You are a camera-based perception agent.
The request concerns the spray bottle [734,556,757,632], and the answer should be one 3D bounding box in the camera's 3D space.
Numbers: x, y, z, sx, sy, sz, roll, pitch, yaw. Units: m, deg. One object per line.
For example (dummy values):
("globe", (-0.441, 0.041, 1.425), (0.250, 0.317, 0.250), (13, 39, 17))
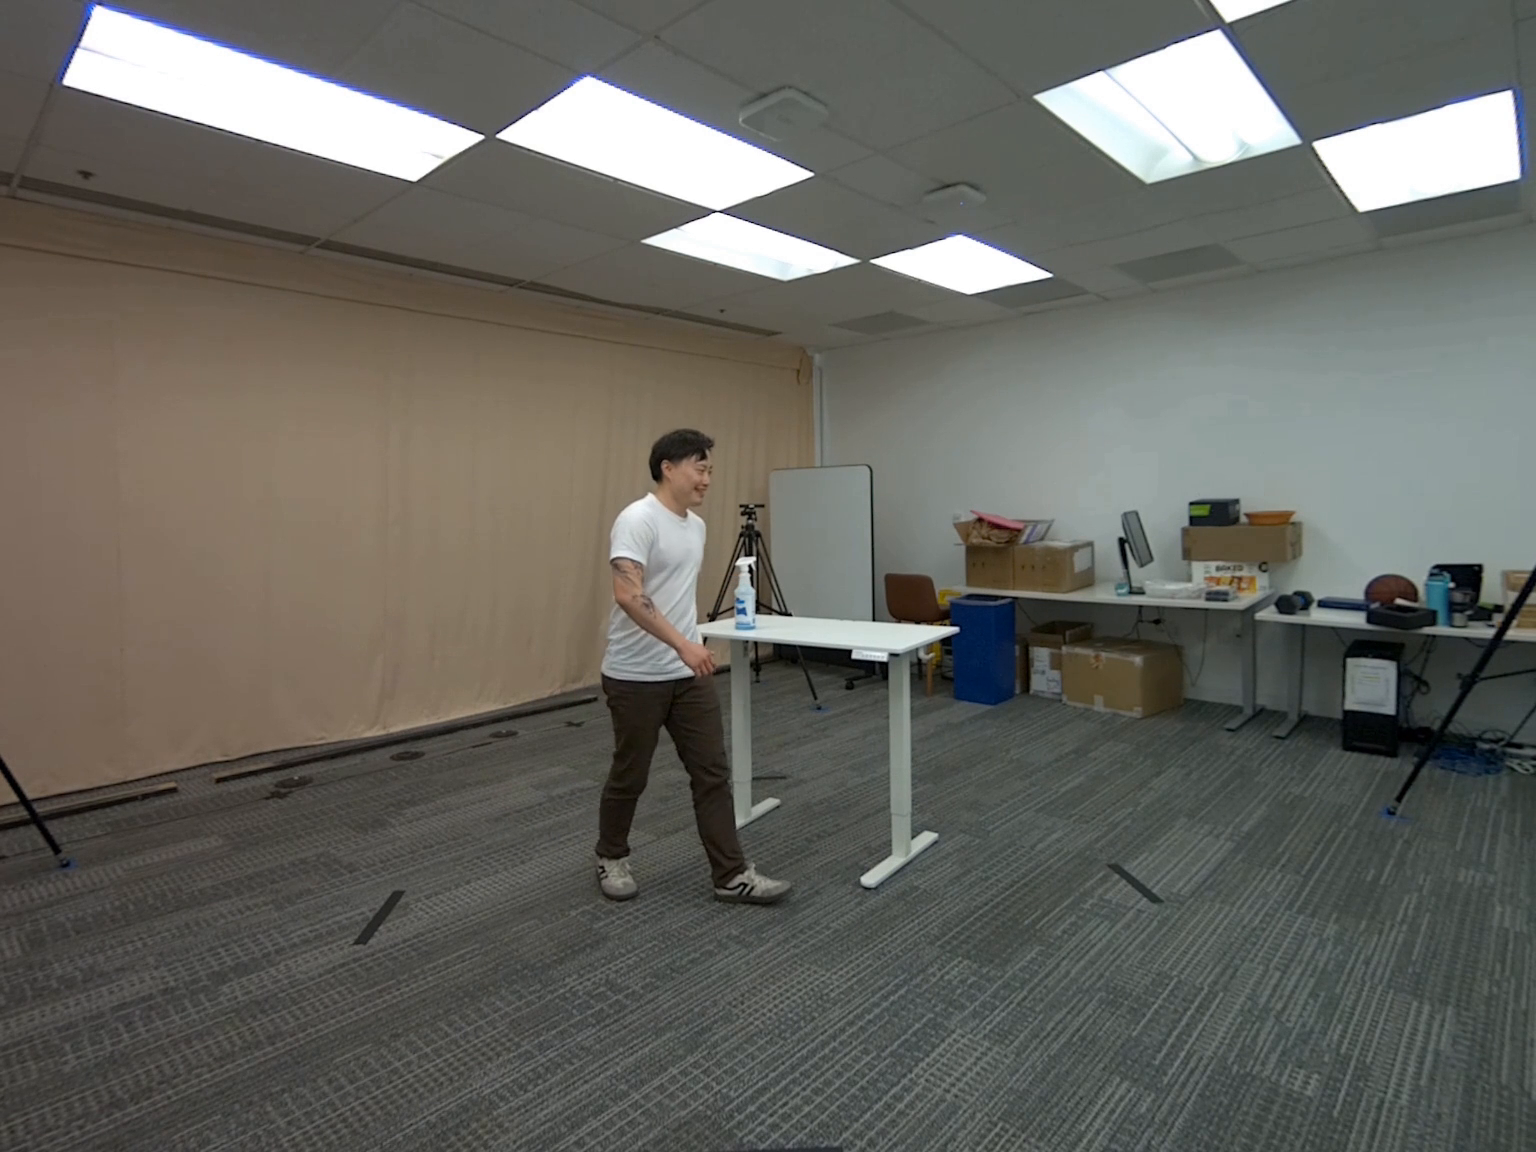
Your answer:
("spray bottle", (-0.093, 0.074, 3.475), (0.090, 0.297, 0.087), (0, 3, 1))
